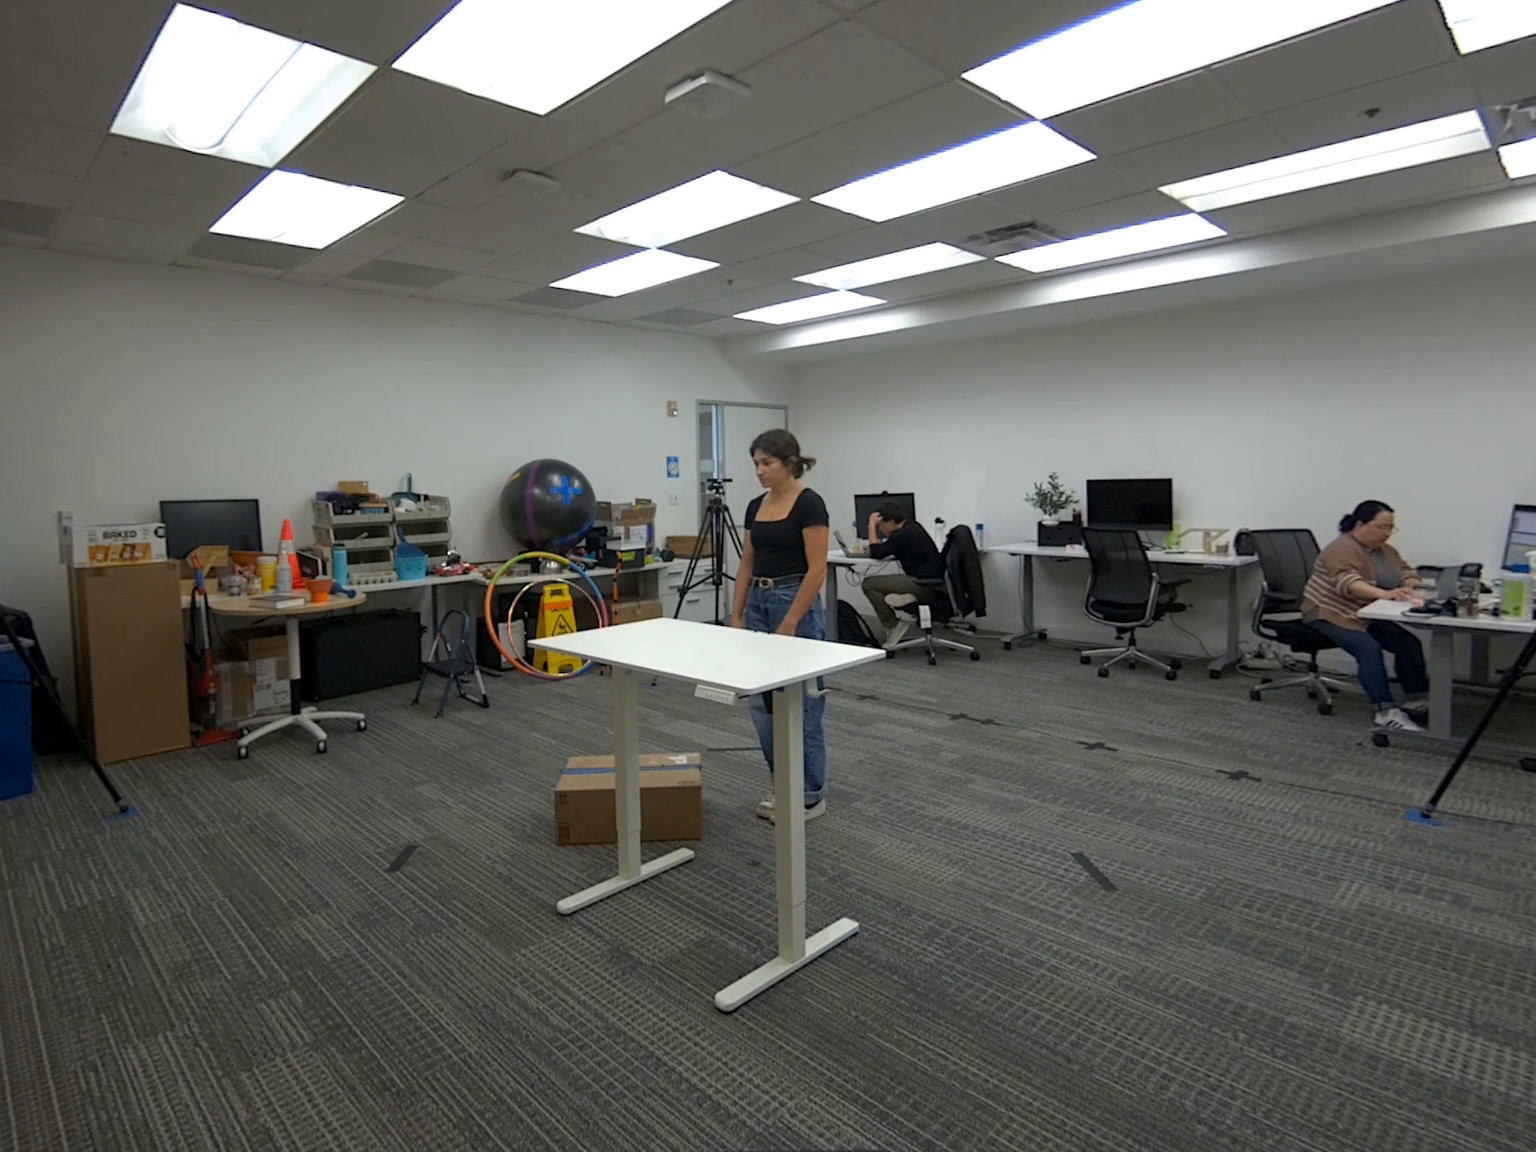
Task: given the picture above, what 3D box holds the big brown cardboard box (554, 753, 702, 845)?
[{"bbox_3d":[-0.552,0.897,3.498,0.587,0.232,0.421,-2,5,-4],"label":"big brown cardboard box"}]
